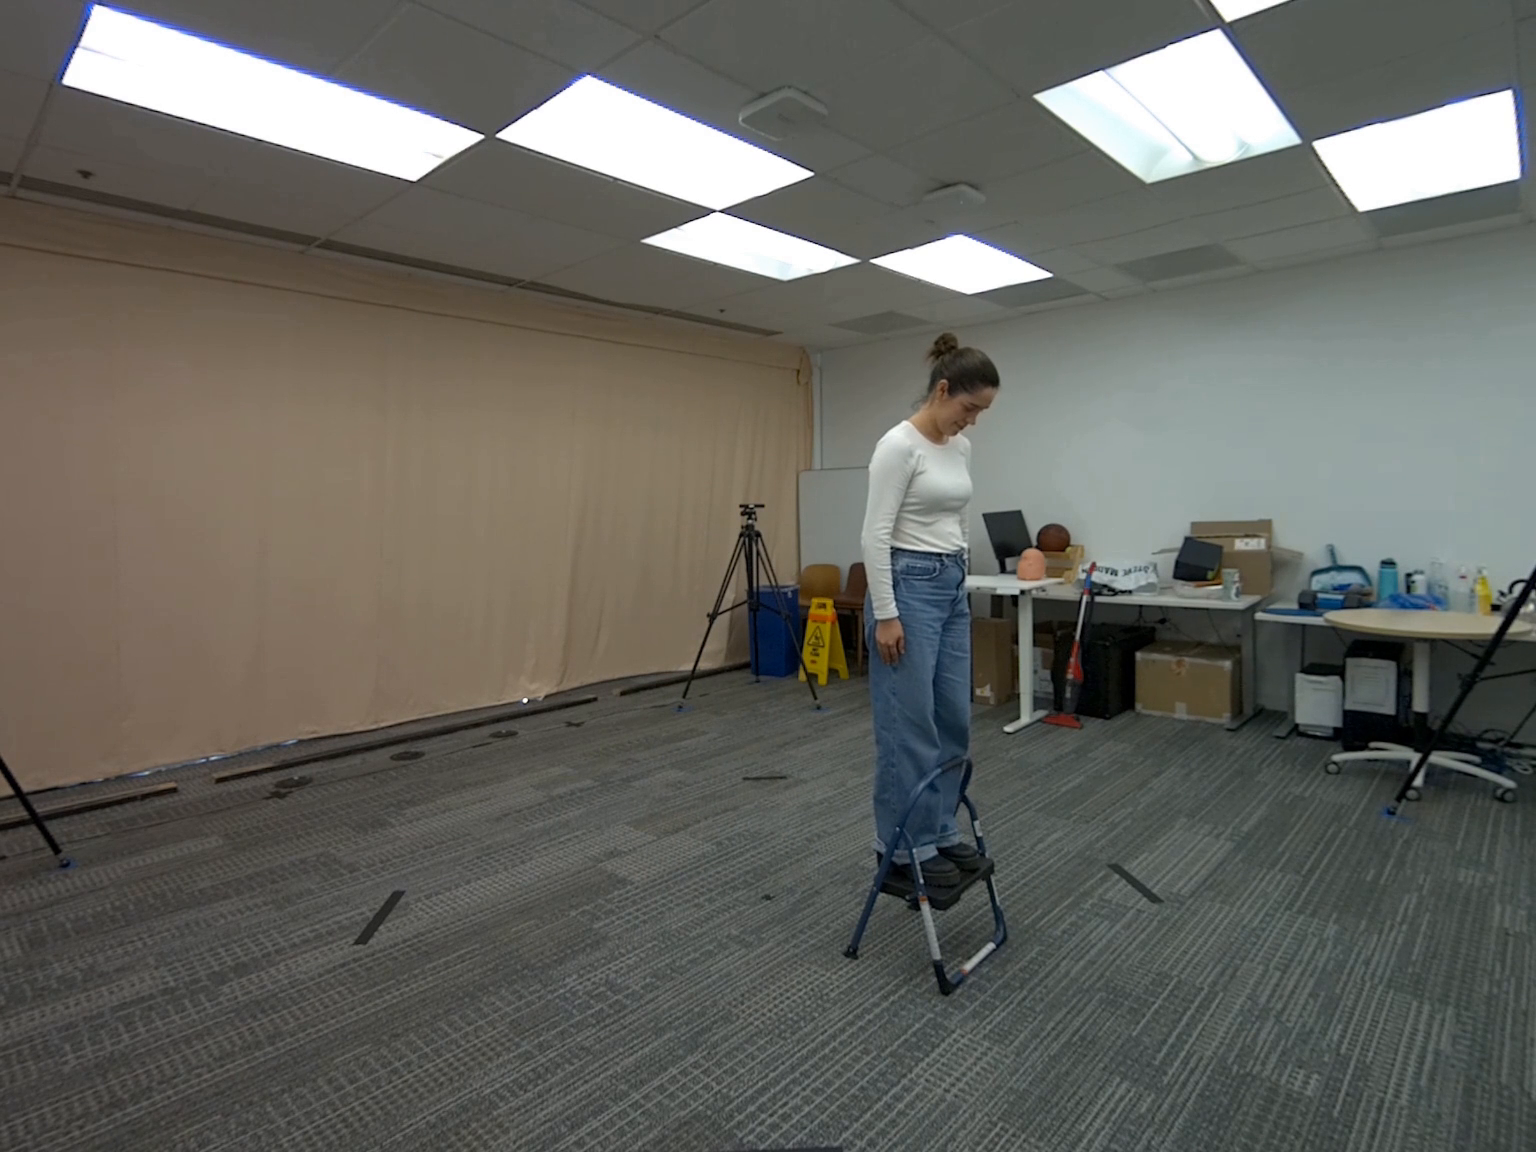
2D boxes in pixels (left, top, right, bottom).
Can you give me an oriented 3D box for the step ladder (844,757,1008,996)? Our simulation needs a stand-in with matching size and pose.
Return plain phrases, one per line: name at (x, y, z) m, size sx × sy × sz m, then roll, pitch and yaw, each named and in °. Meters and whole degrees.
step ladder at (0.500, 0.861, 2.612) m, size 0.361 × 0.604 × 0.418 m, roll 3°, pitch 5°, yaw 40°
